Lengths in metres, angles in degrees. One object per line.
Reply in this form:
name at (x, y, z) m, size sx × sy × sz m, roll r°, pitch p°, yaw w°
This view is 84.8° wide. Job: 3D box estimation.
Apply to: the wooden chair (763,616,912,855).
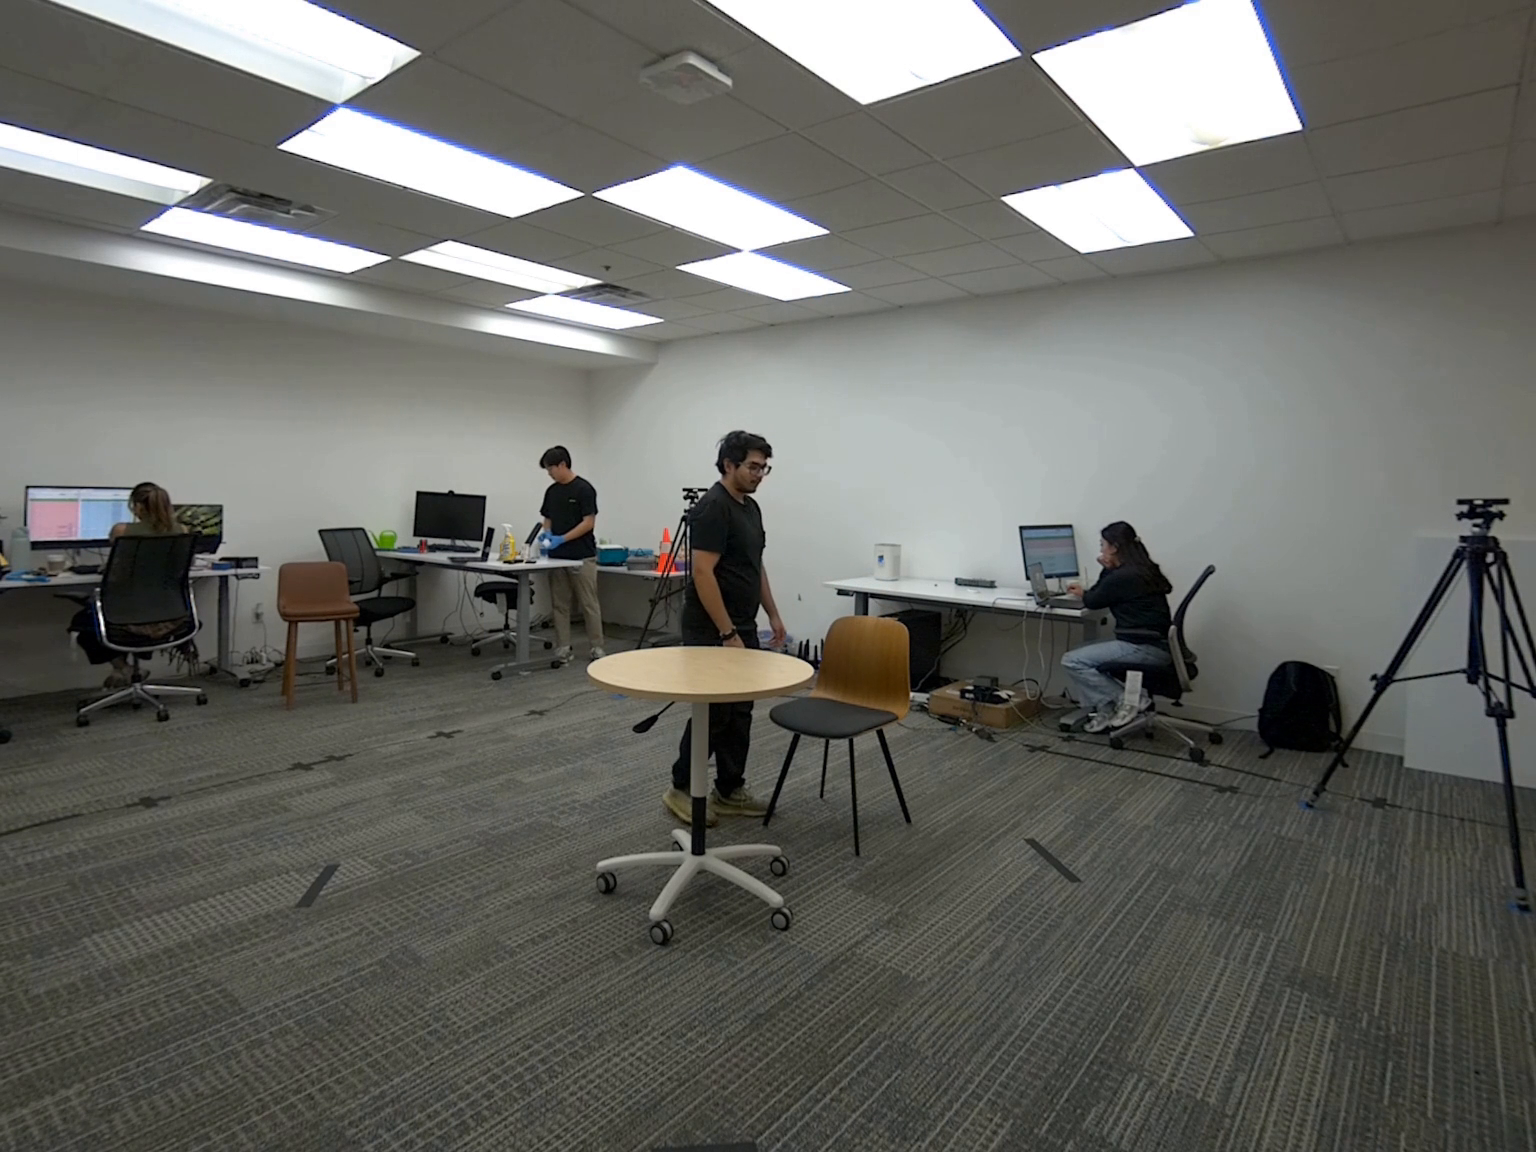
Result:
wooden chair at (0.292, 0.611, 3.526) m, size 0.494 × 0.877 × 0.506 m, roll 4°, pitch 0°, yaw 37°
